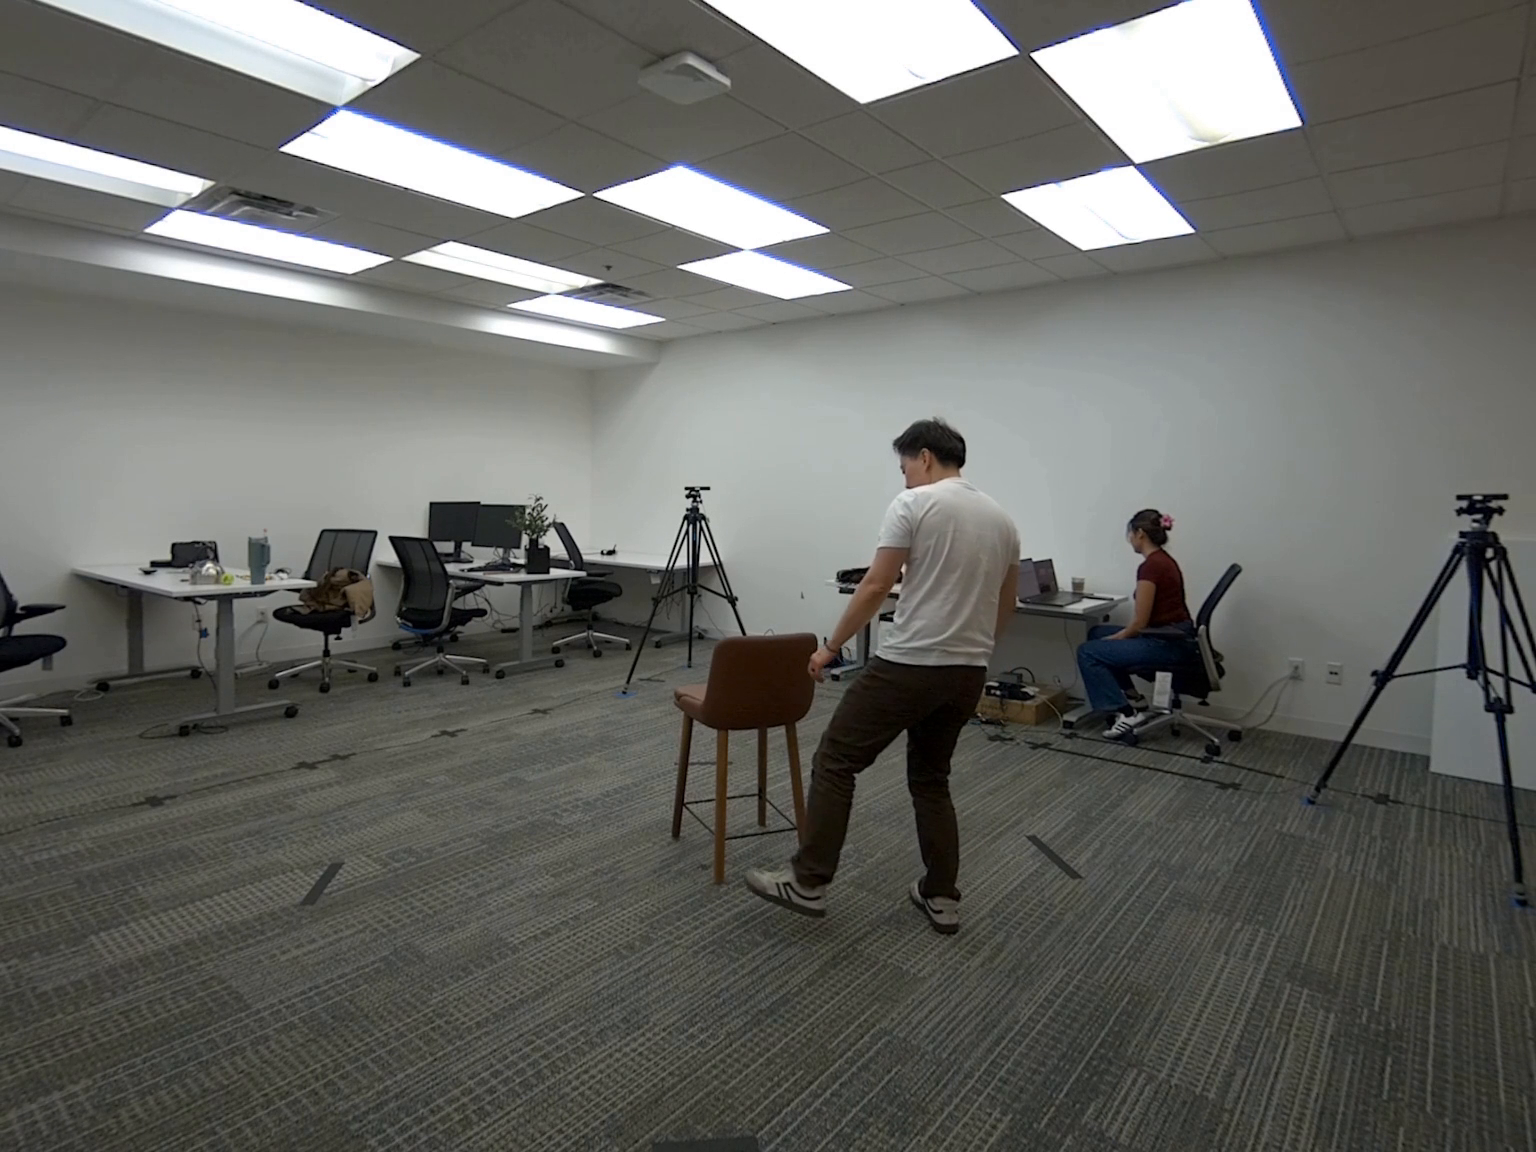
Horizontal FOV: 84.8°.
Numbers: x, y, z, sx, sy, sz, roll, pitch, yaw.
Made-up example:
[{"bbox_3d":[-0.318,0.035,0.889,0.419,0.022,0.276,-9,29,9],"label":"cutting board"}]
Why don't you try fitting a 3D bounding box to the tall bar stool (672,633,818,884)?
[{"bbox_3d":[-0.105,0.619,3.226,0.446,0.886,0.481,-1,6,-25],"label":"tall bar stool"}]
